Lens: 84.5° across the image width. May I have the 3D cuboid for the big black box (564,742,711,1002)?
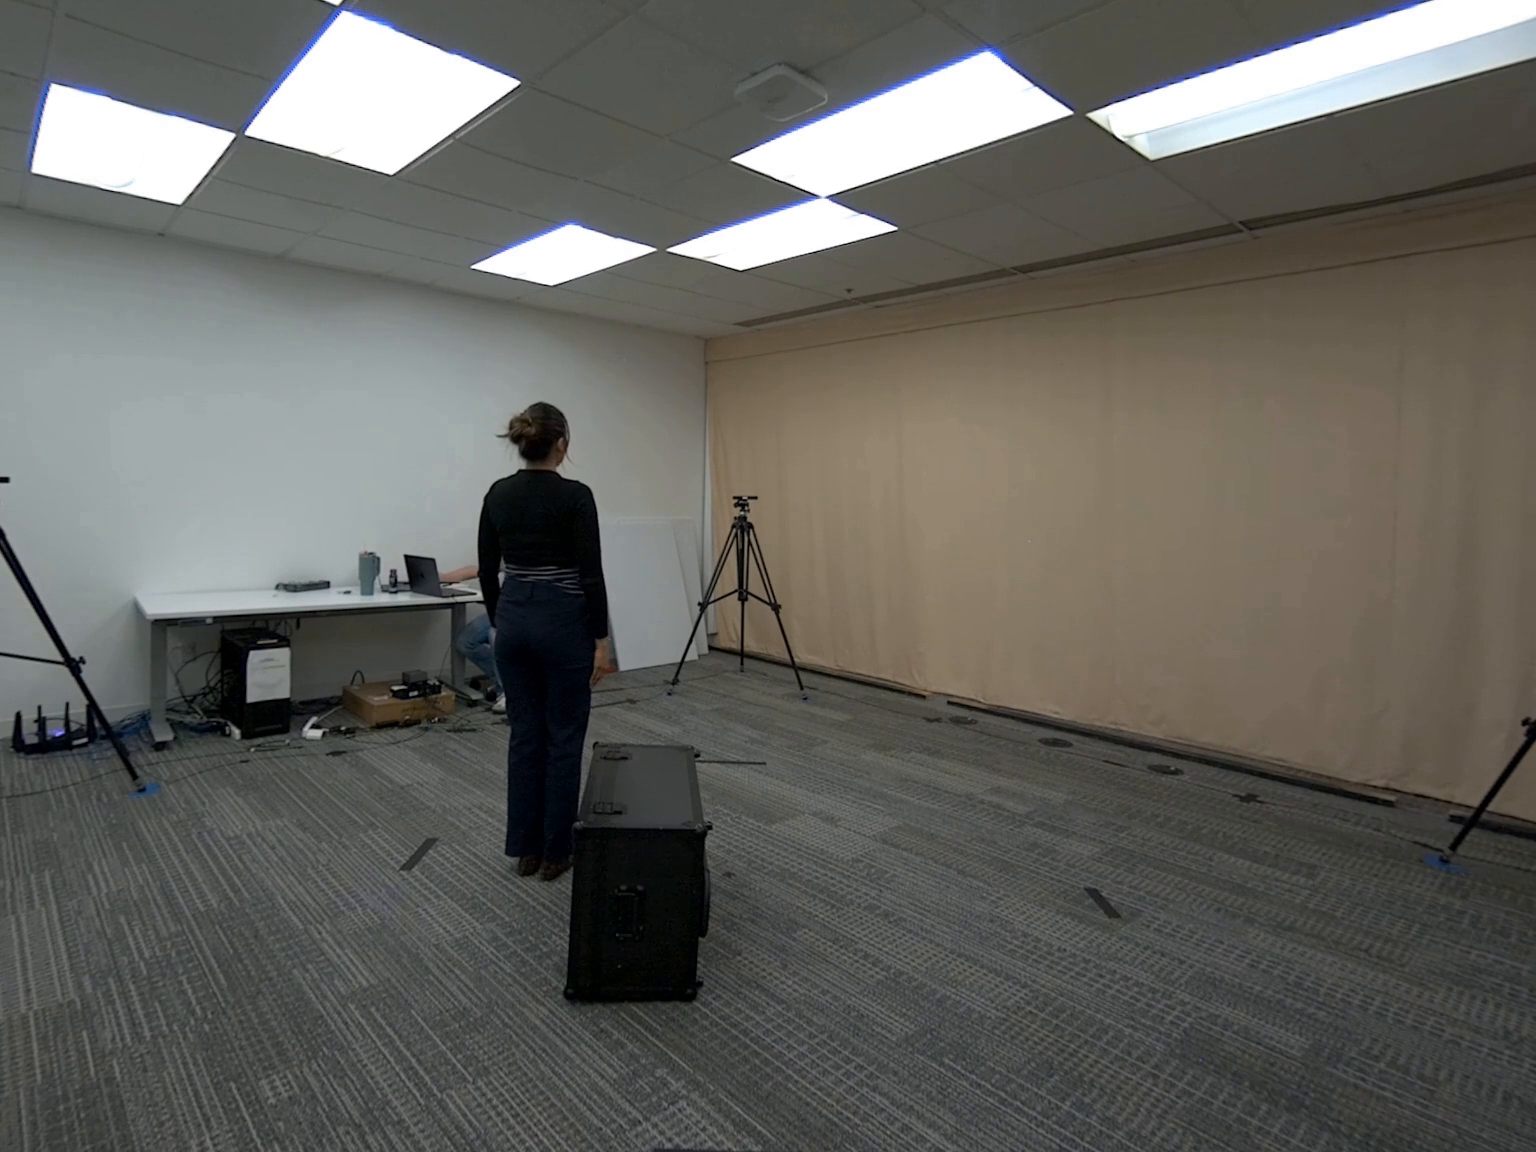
[{"bbox_3d":[-0.404,0.878,2.700,0.394,0.520,0.869,3,4,-8],"label":"big black box"}]
